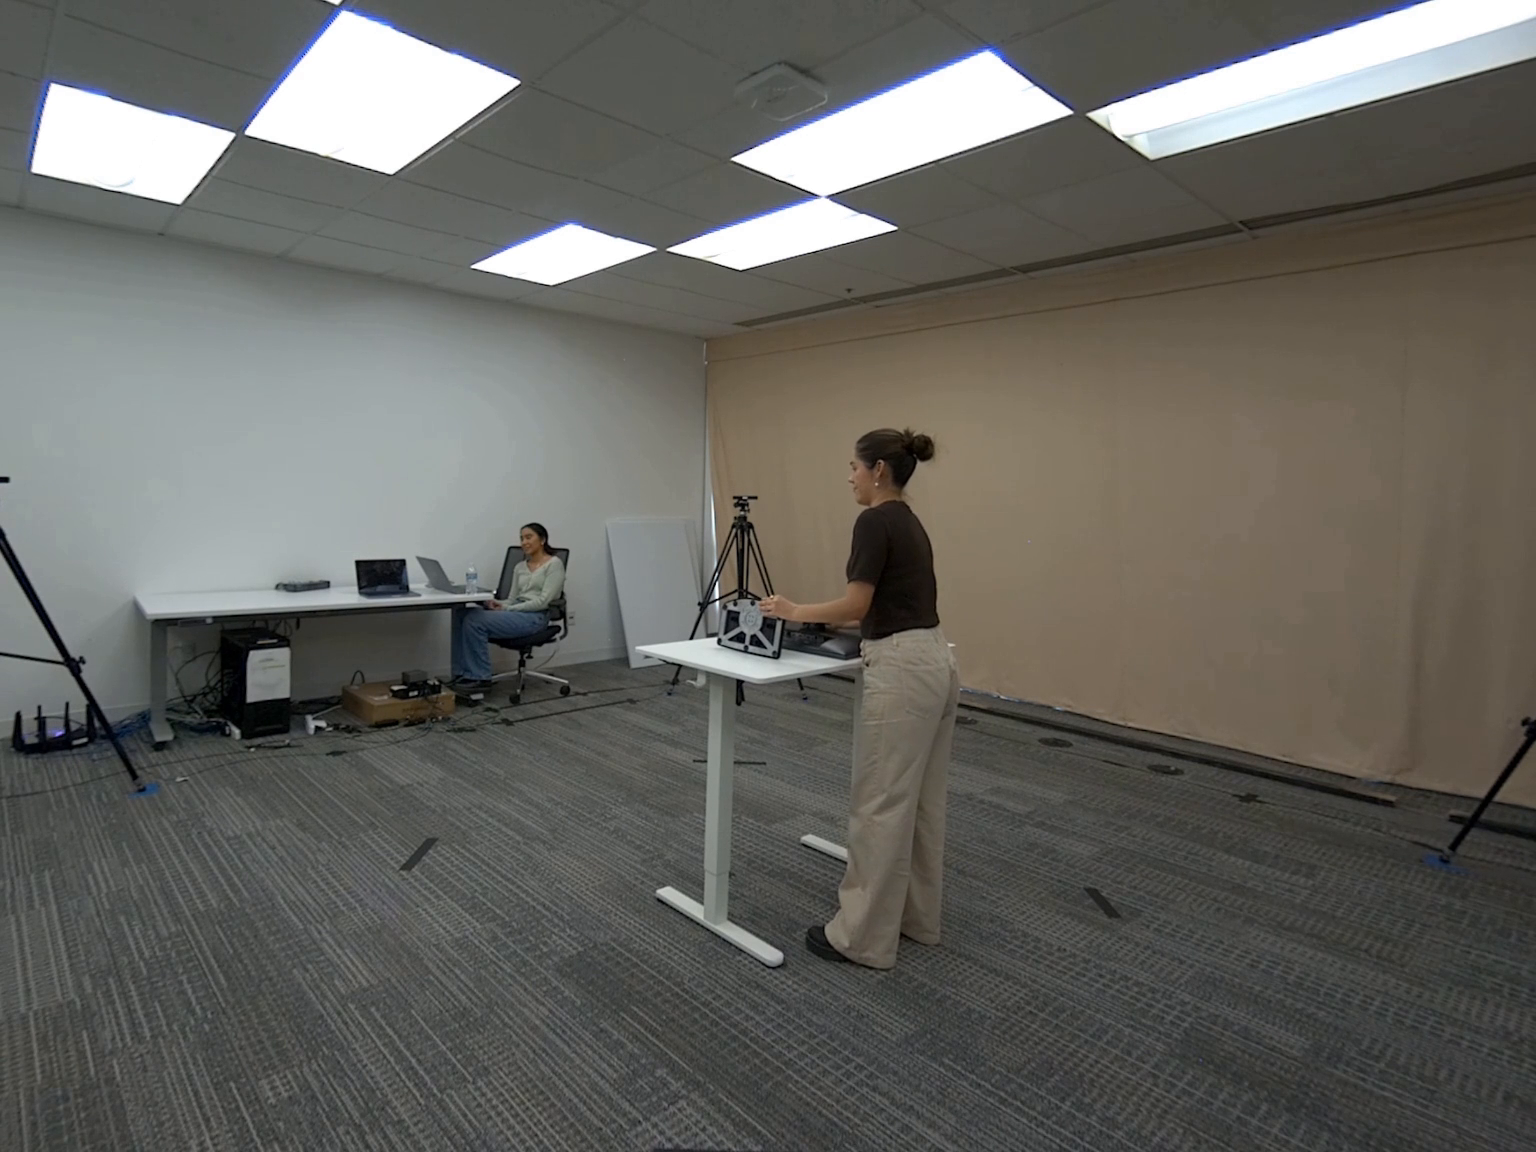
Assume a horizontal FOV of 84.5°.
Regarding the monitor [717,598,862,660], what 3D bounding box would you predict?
[{"bbox_3d":[0.097,0.188,2.927,0.553,0.187,0.508,10,1,43],"label":"monitor"}]
